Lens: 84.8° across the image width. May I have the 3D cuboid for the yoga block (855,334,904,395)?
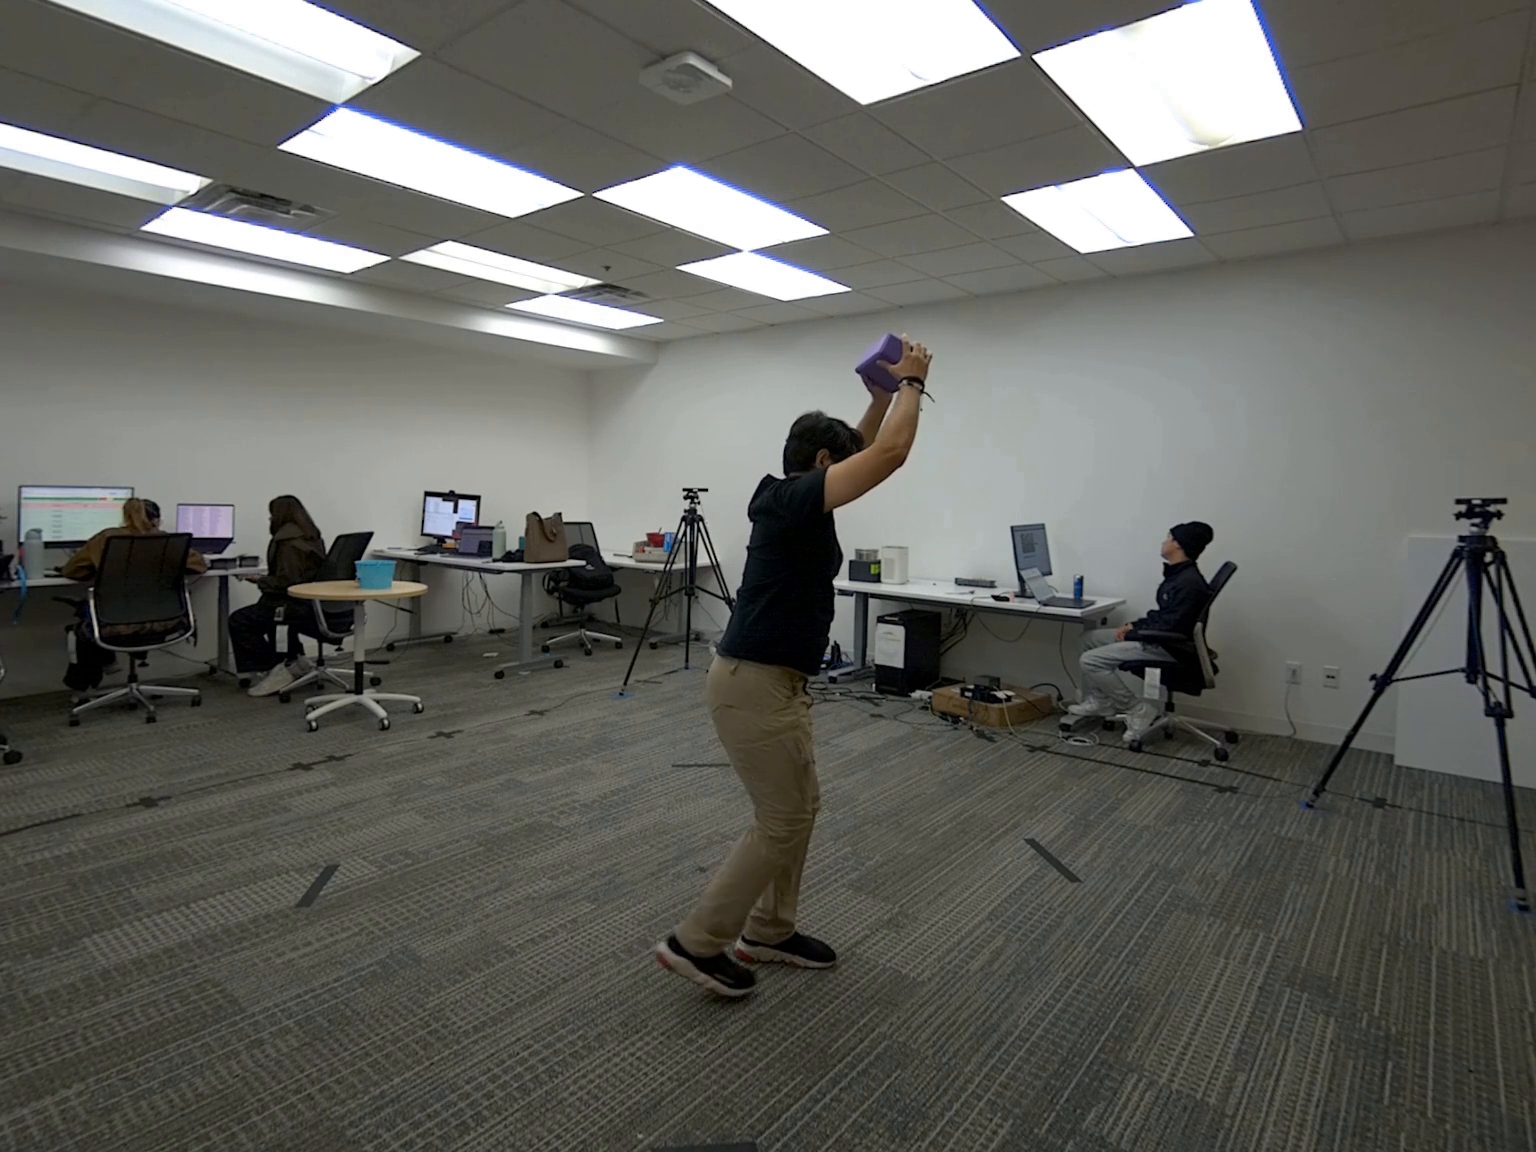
[{"bbox_3d":[0.354,-0.626,2.533,0.147,0.076,0.232,30,-7,-11],"label":"yoga block"}]
